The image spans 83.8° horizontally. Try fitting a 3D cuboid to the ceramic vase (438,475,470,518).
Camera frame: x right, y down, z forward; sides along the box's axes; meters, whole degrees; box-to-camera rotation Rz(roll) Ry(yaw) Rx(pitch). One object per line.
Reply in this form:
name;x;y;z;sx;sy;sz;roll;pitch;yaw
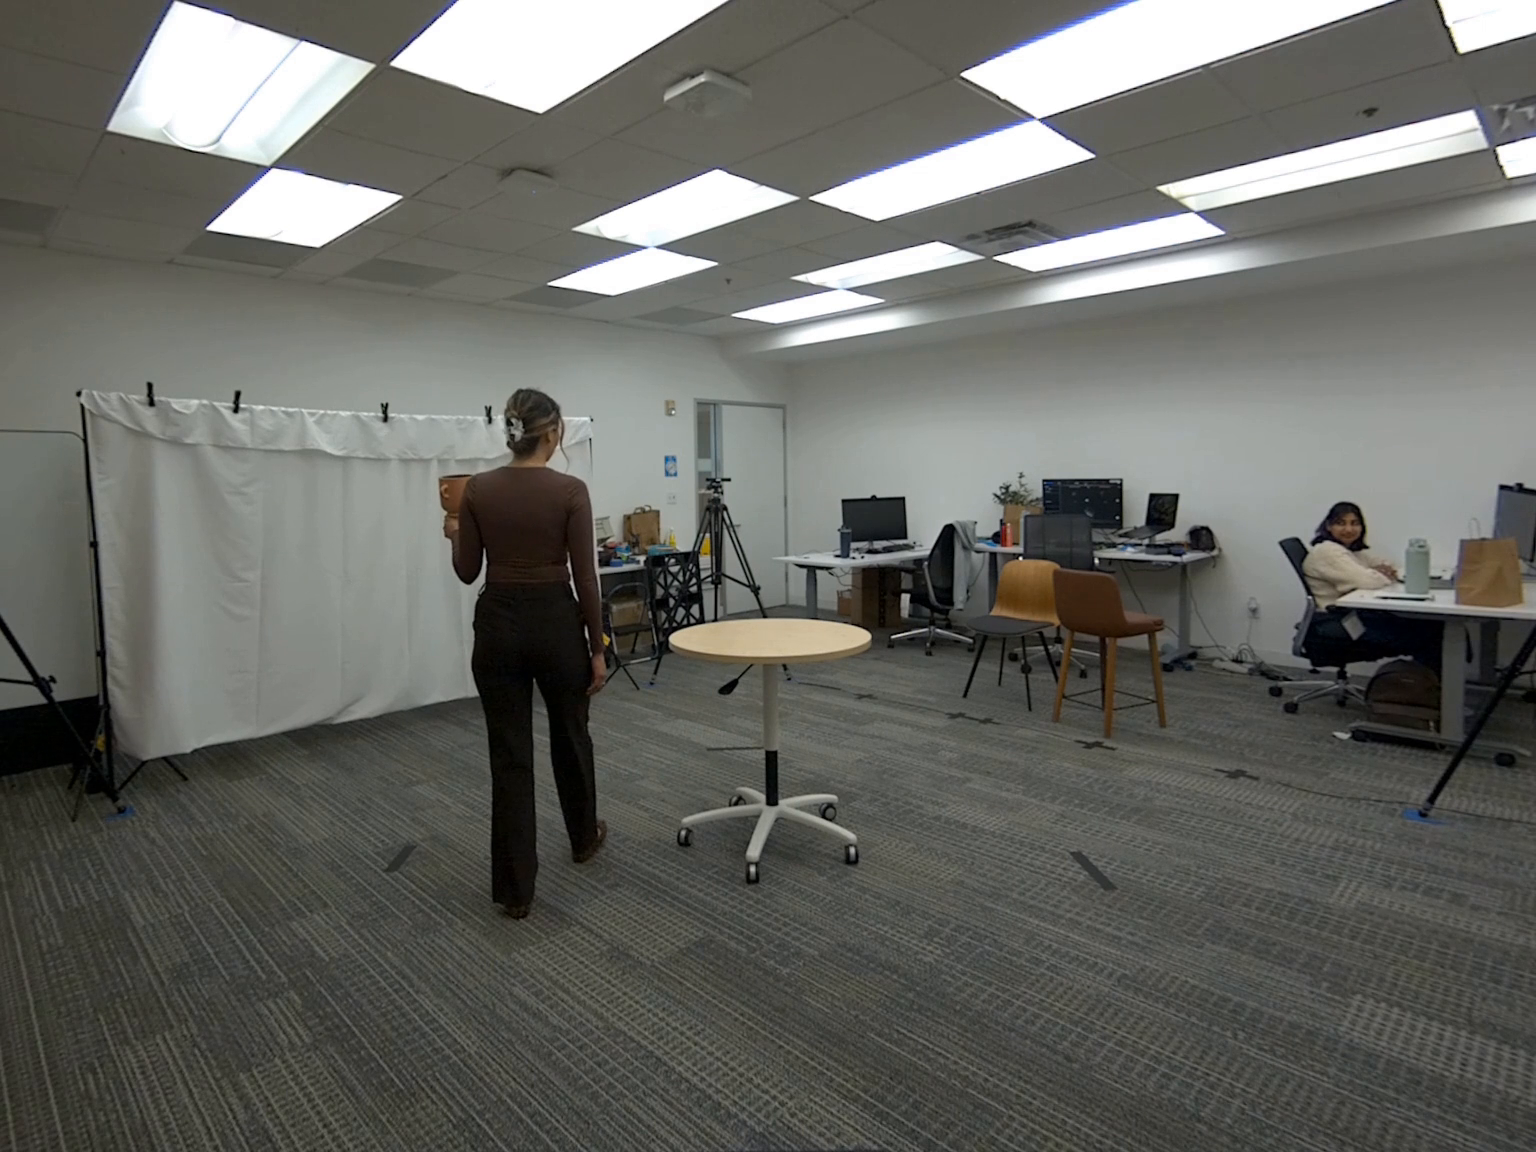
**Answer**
ceramic vase;-1.129;-0.261;3.149;0.155;0.218;0.139;-6;11;-33
